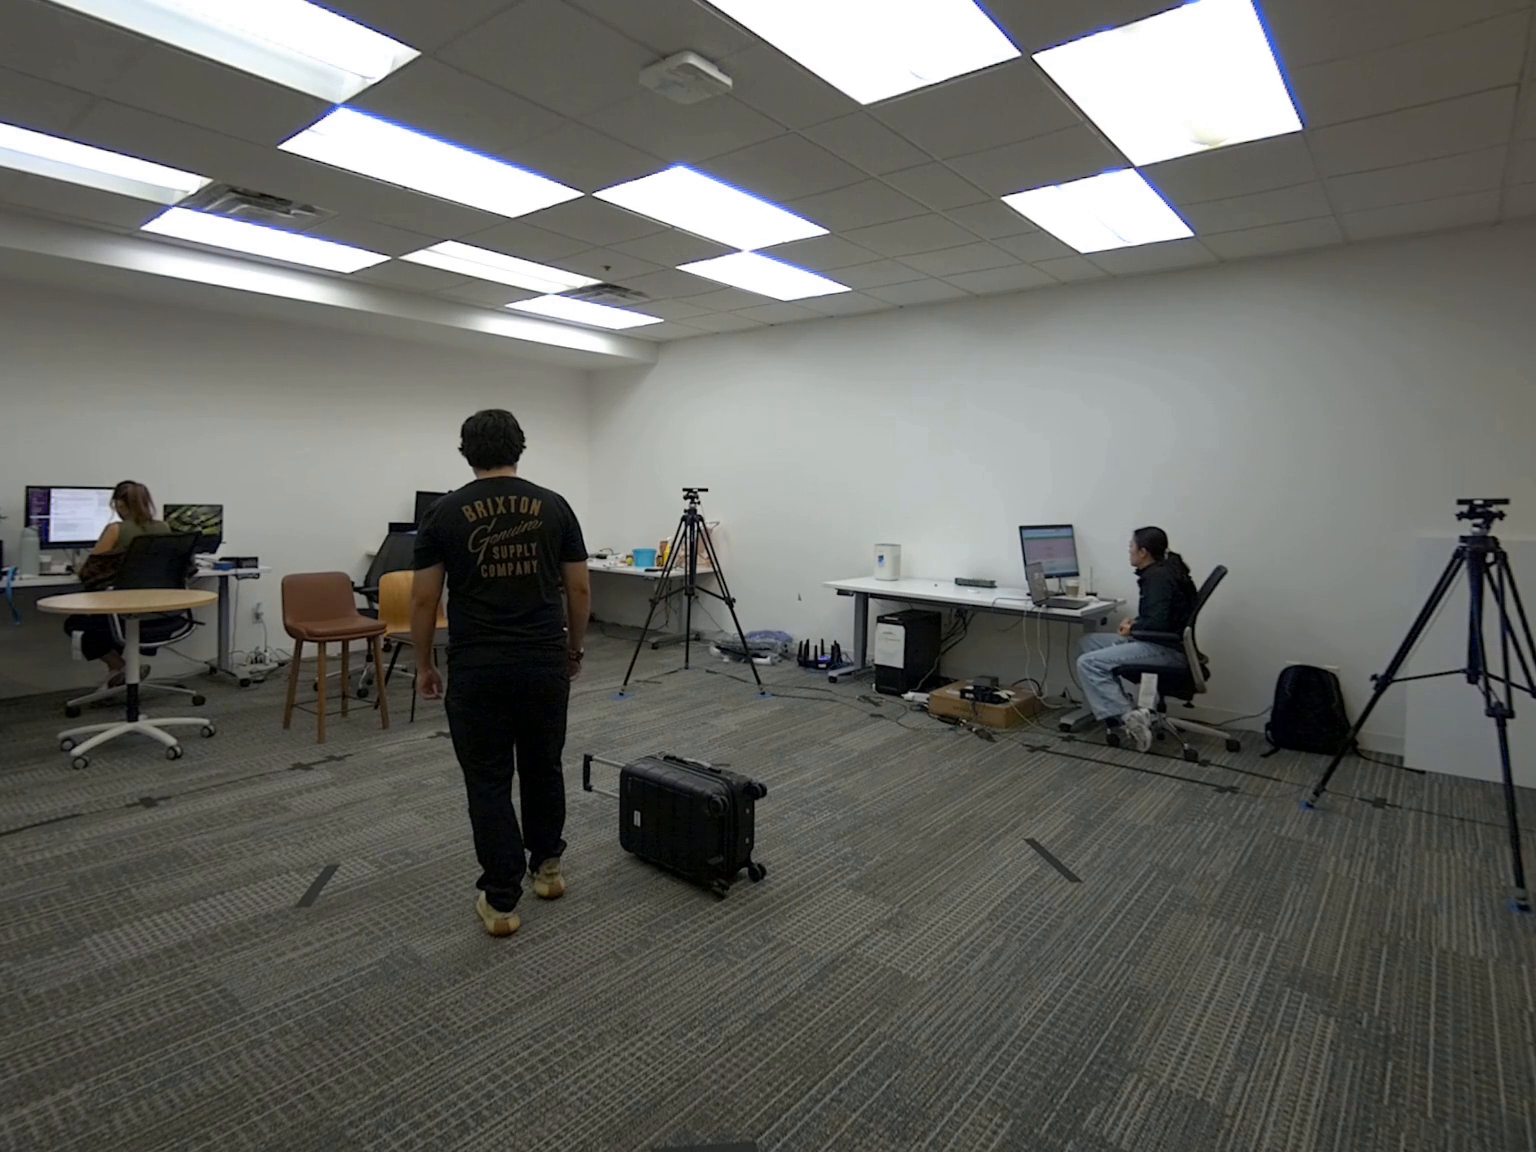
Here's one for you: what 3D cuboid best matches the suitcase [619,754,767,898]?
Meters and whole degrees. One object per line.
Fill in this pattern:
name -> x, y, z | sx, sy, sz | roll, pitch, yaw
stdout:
suitcase -> -0.472, 0.863, 3.256 | 1.011, 0.383, 0.249 | 4, 4, 38
